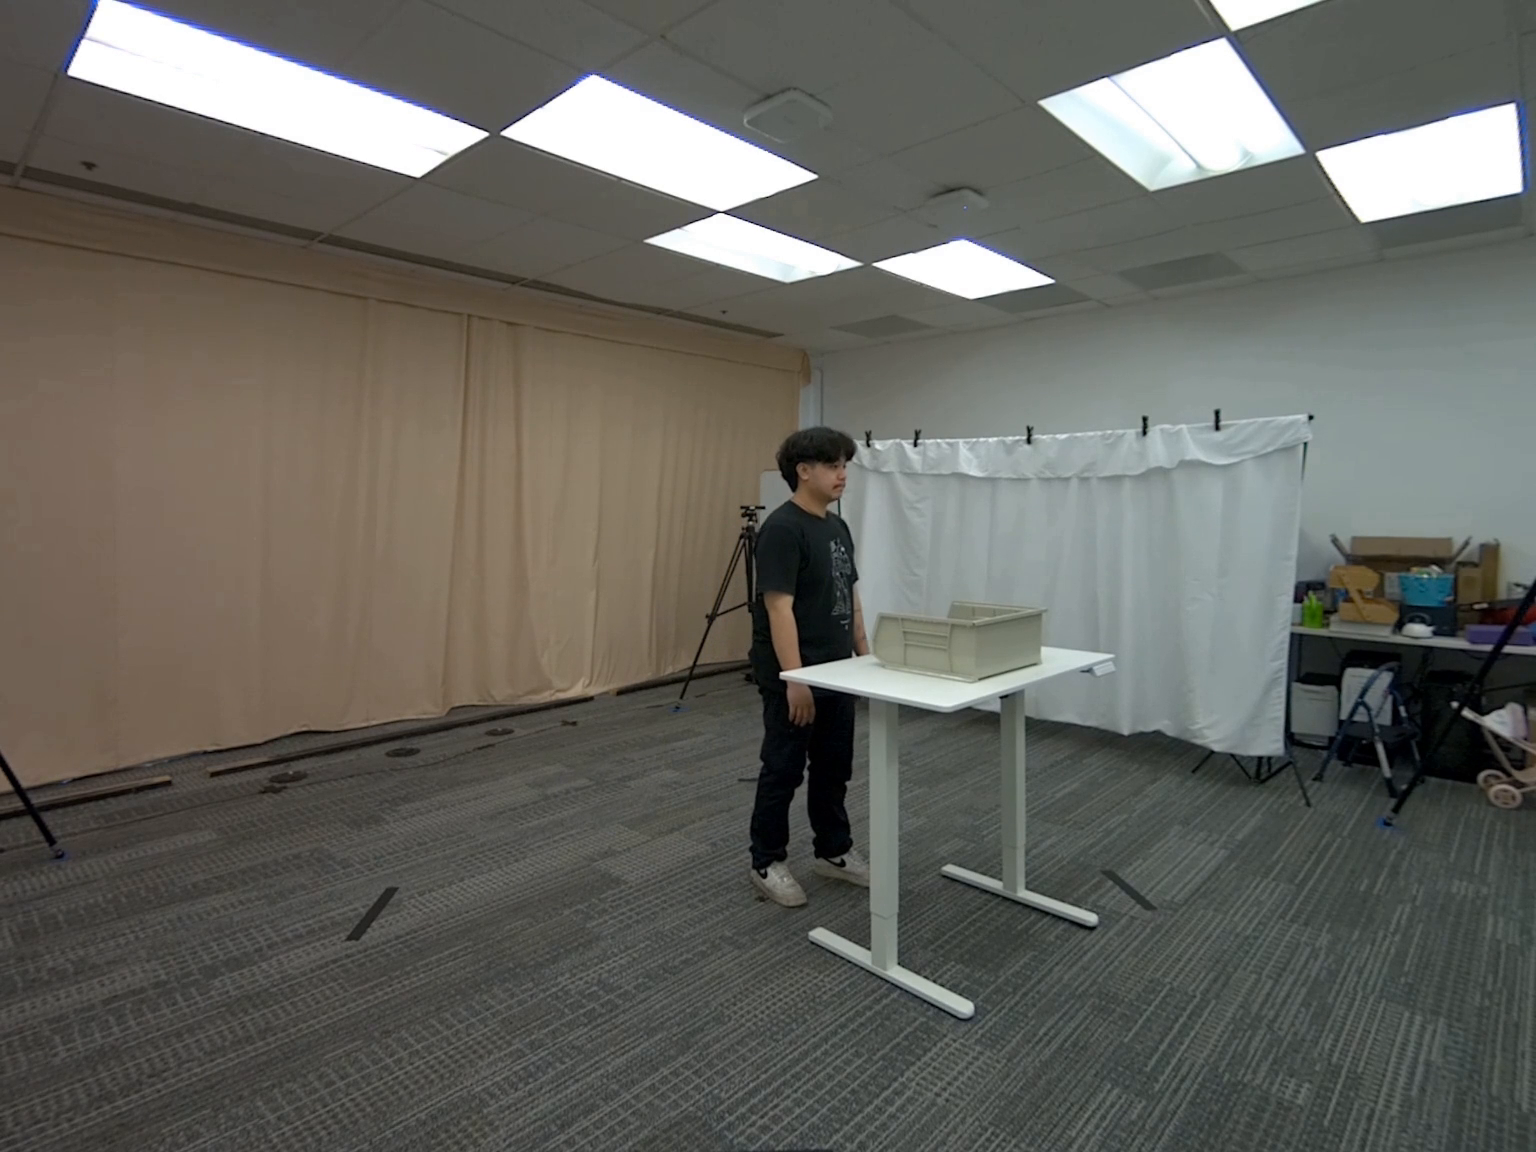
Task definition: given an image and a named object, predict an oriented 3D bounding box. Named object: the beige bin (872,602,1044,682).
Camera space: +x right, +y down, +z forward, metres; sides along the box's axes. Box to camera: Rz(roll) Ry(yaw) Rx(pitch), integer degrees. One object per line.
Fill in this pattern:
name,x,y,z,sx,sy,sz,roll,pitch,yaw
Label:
beige bin,0.611,0.202,2.664,0.409,0.188,0.390,-4,6,-42
